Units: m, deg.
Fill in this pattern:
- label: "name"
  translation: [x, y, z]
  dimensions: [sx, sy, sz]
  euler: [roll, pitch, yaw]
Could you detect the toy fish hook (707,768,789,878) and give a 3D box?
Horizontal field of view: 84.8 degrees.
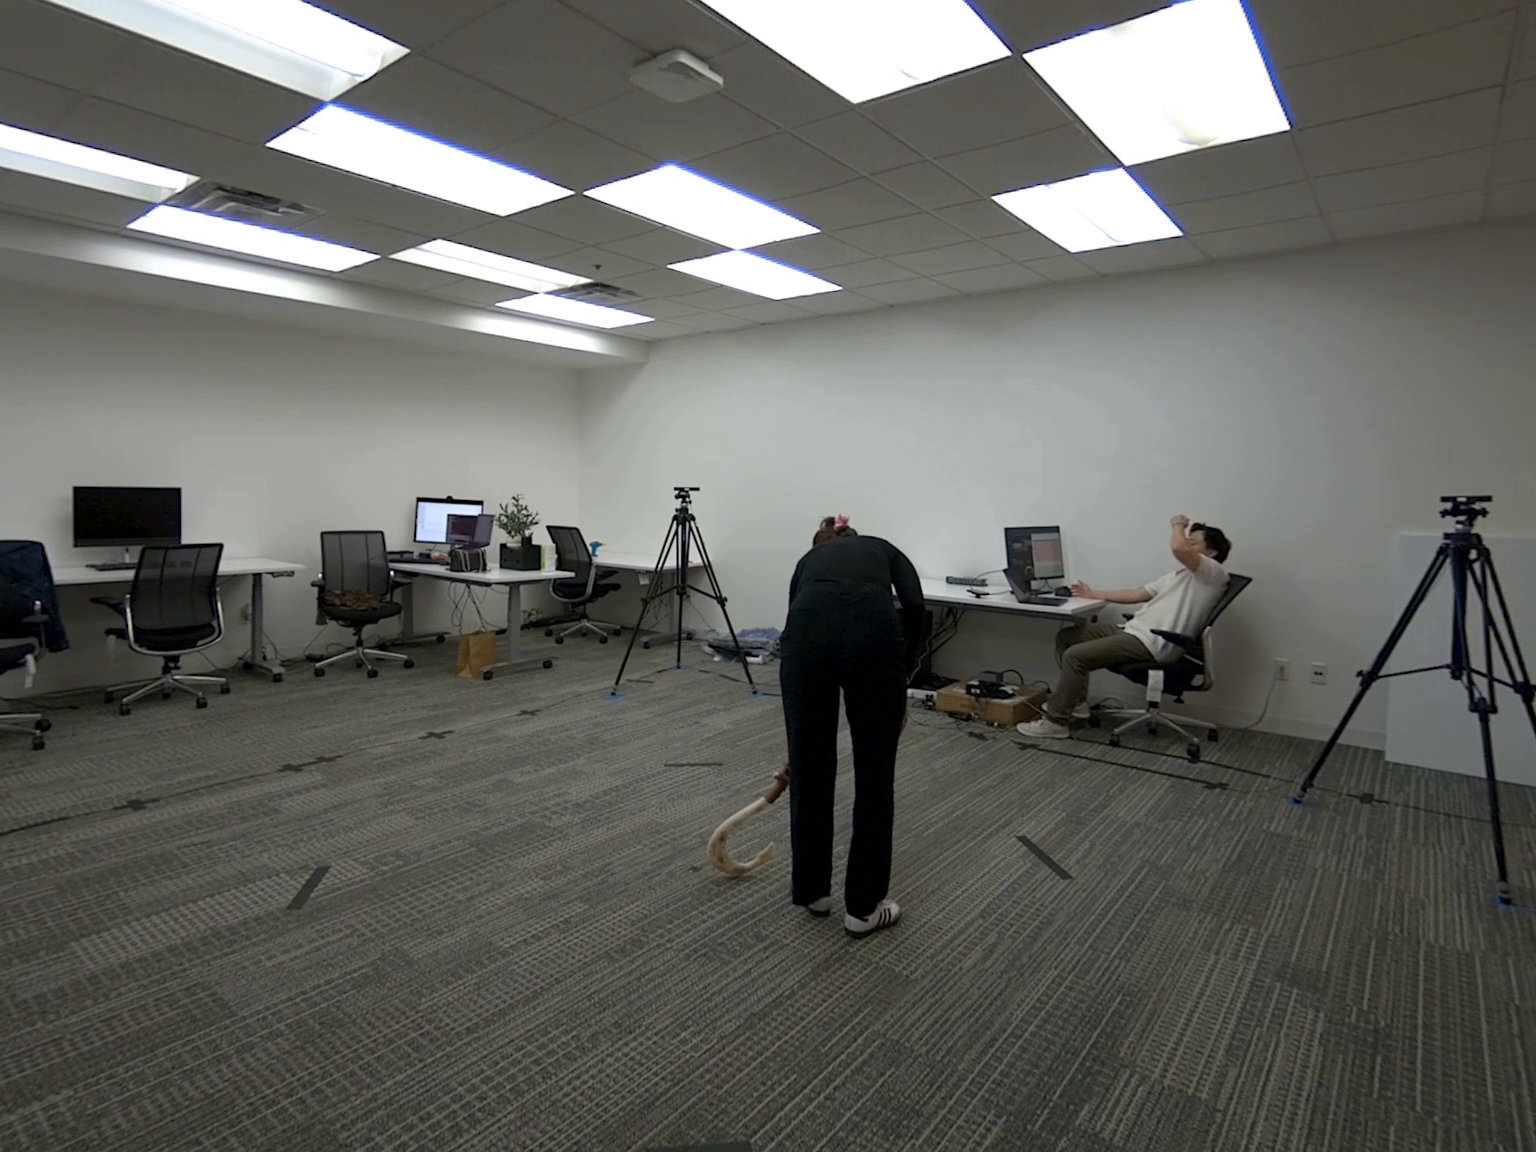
- label: "toy fish hook"
  translation: [-0.010, 0.856, 3.020]
  dimensions: [0.219, 0.506, 0.049]
  euler: [38, 5, -16]
